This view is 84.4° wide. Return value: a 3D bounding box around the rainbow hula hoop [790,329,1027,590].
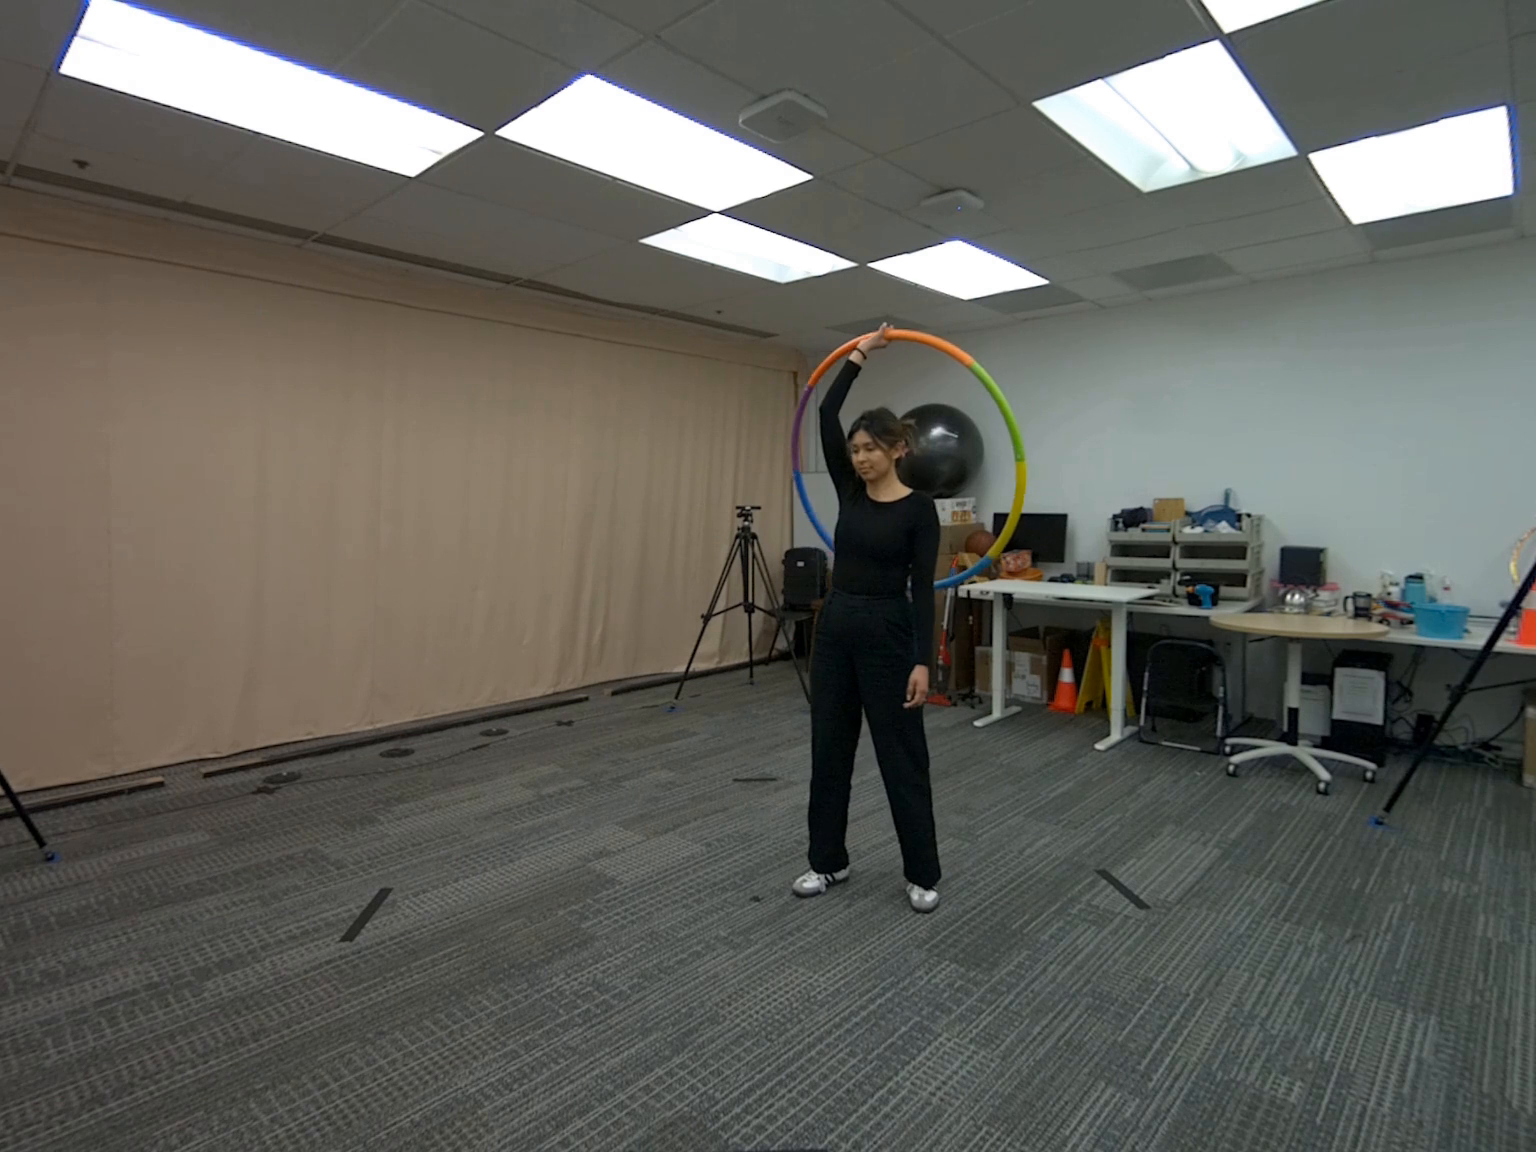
[{"bbox_3d":[0.480,-0.414,3.158,1.018,0.975,0.050,3,18,41],"label":"rainbow hula hoop"}]
